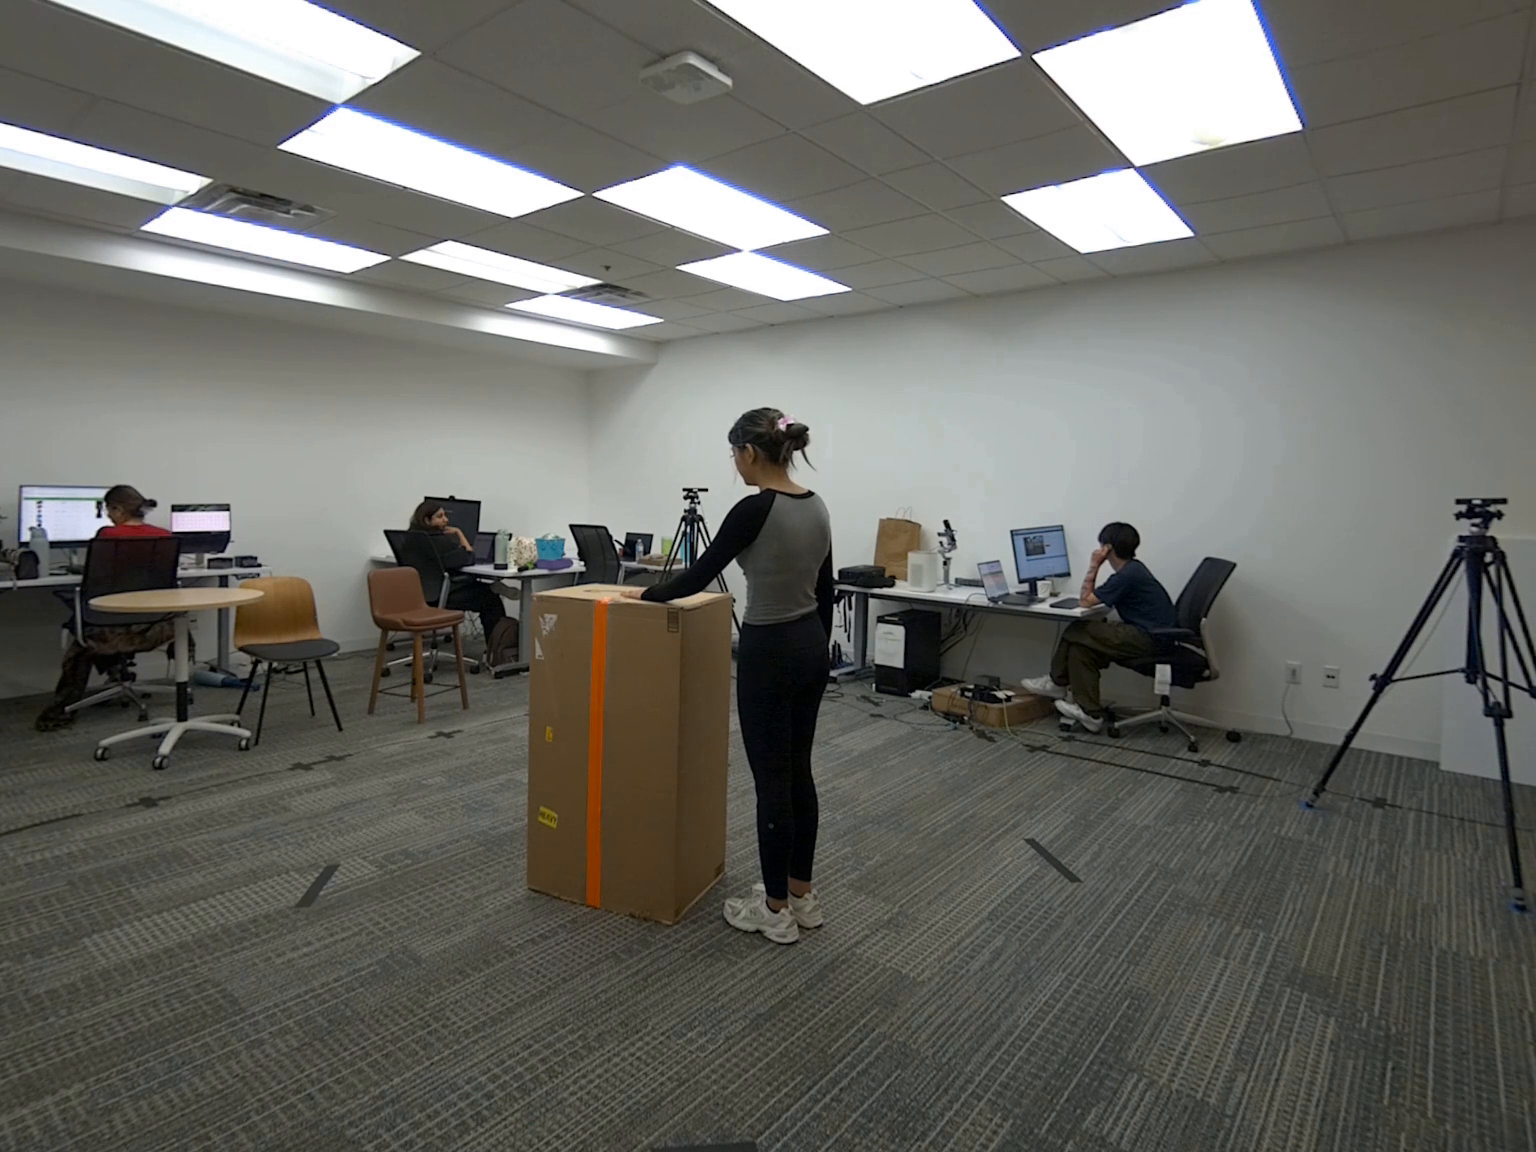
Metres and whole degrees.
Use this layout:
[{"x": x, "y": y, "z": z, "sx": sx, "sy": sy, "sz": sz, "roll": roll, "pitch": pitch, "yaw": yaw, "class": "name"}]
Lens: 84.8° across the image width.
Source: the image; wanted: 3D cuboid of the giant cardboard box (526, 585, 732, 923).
[{"x": -0.494, "y": 0.571, "z": 2.977, "sx": 0.598, "sy": 1.025, "sz": 0.437, "roll": 3, "pitch": 3, "yaw": 22, "class": "giant cardboard box"}]
